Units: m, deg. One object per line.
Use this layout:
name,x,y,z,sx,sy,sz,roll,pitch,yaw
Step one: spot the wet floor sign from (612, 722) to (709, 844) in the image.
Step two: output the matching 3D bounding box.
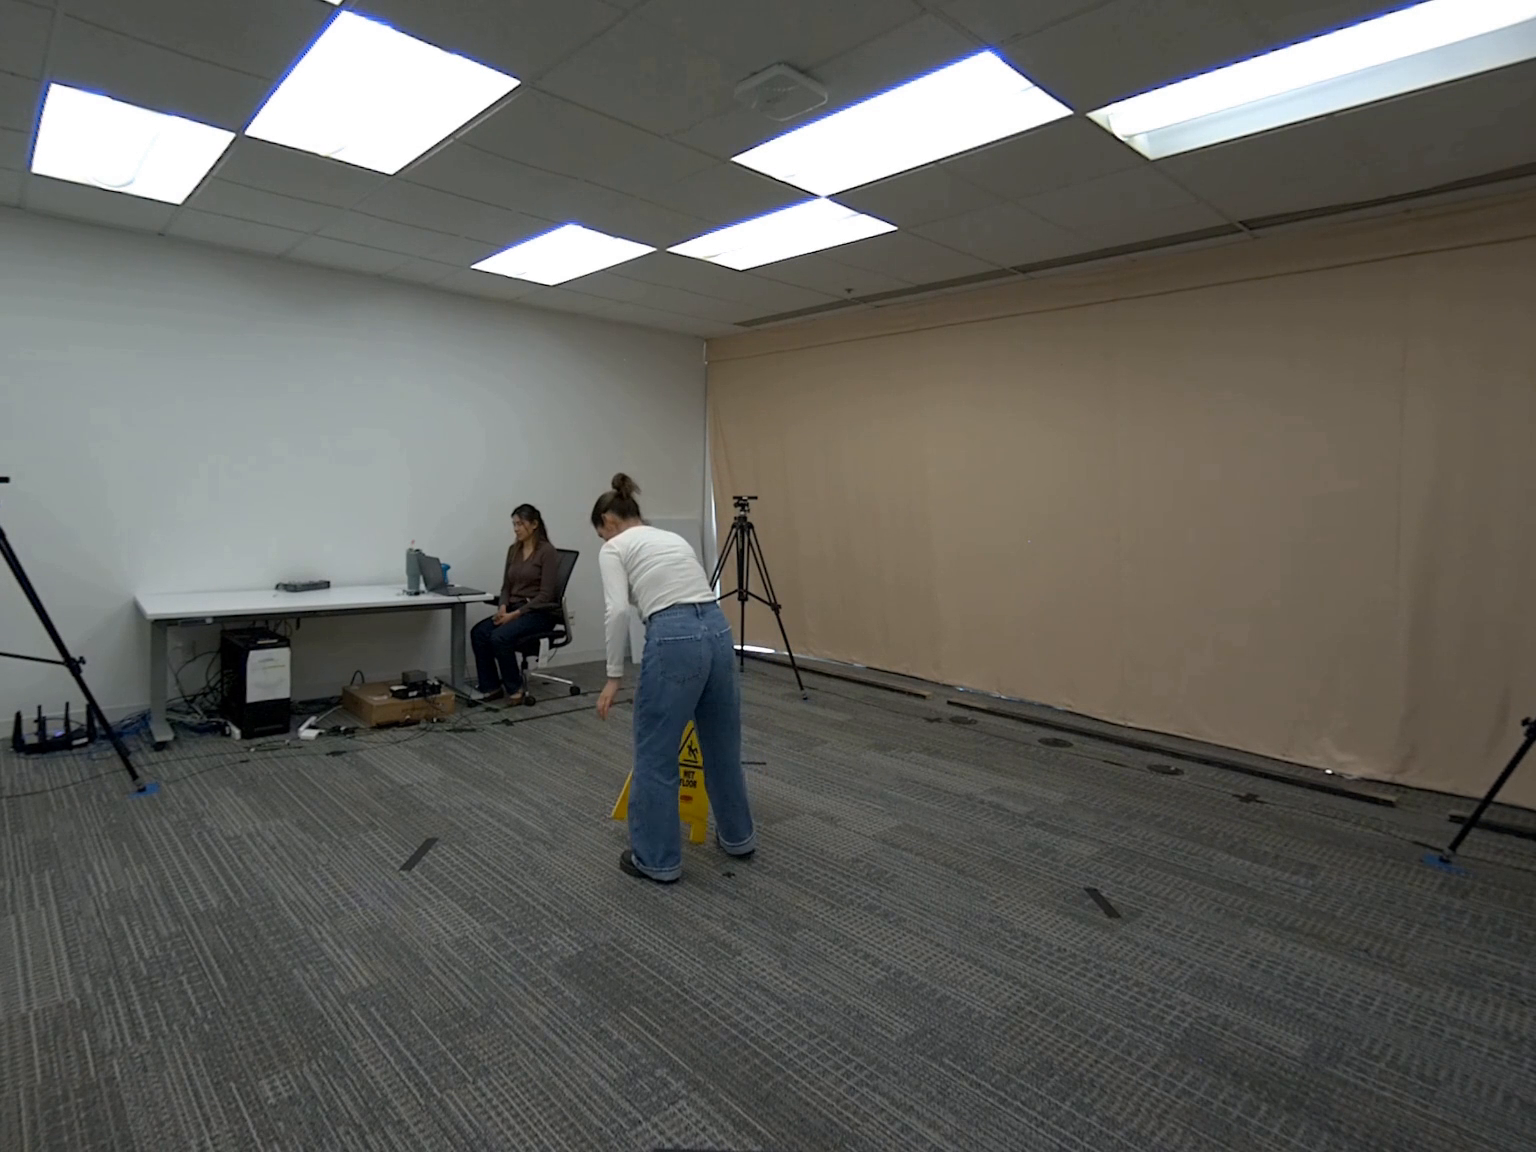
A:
wet floor sign,-0.372,0.723,3.454,0.297,0.649,0.274,5,-13,45
